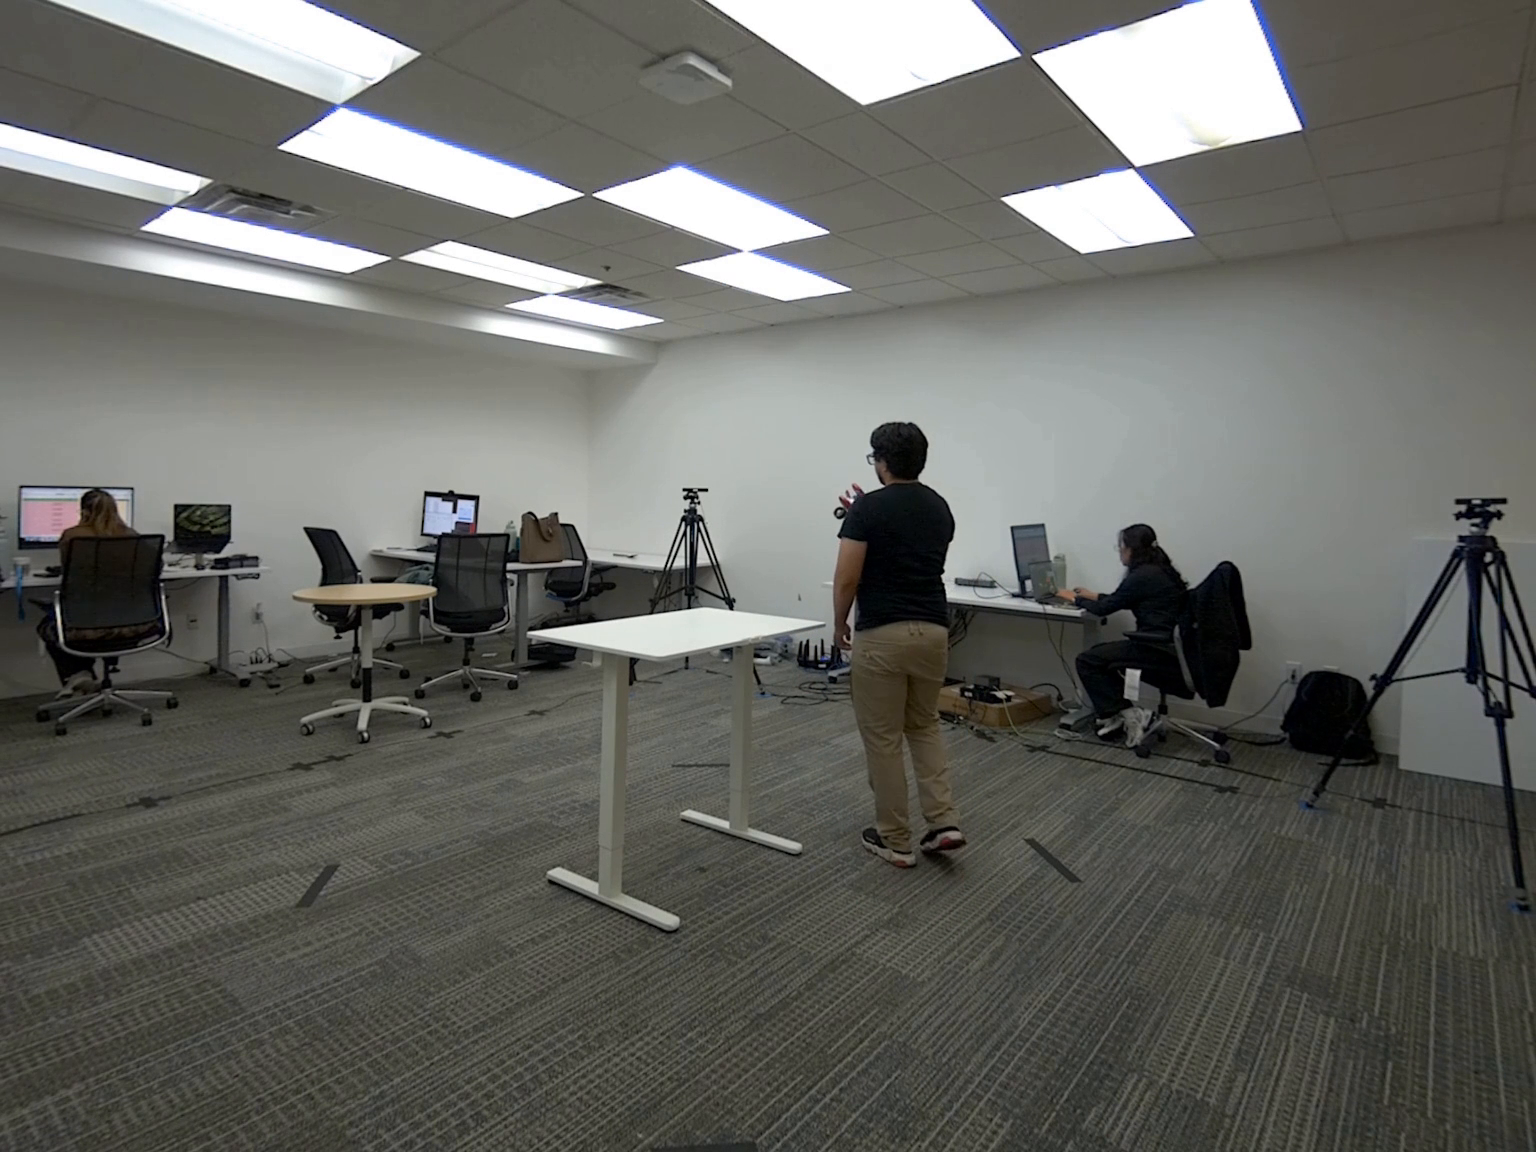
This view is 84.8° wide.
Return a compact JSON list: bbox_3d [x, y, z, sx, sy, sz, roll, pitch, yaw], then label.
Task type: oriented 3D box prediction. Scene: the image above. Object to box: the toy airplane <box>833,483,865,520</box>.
[{"bbox_3d":[0.420,-0.267,3.741,0.266,0.157,0.244,30,-14,18],"label":"toy airplane"}]
